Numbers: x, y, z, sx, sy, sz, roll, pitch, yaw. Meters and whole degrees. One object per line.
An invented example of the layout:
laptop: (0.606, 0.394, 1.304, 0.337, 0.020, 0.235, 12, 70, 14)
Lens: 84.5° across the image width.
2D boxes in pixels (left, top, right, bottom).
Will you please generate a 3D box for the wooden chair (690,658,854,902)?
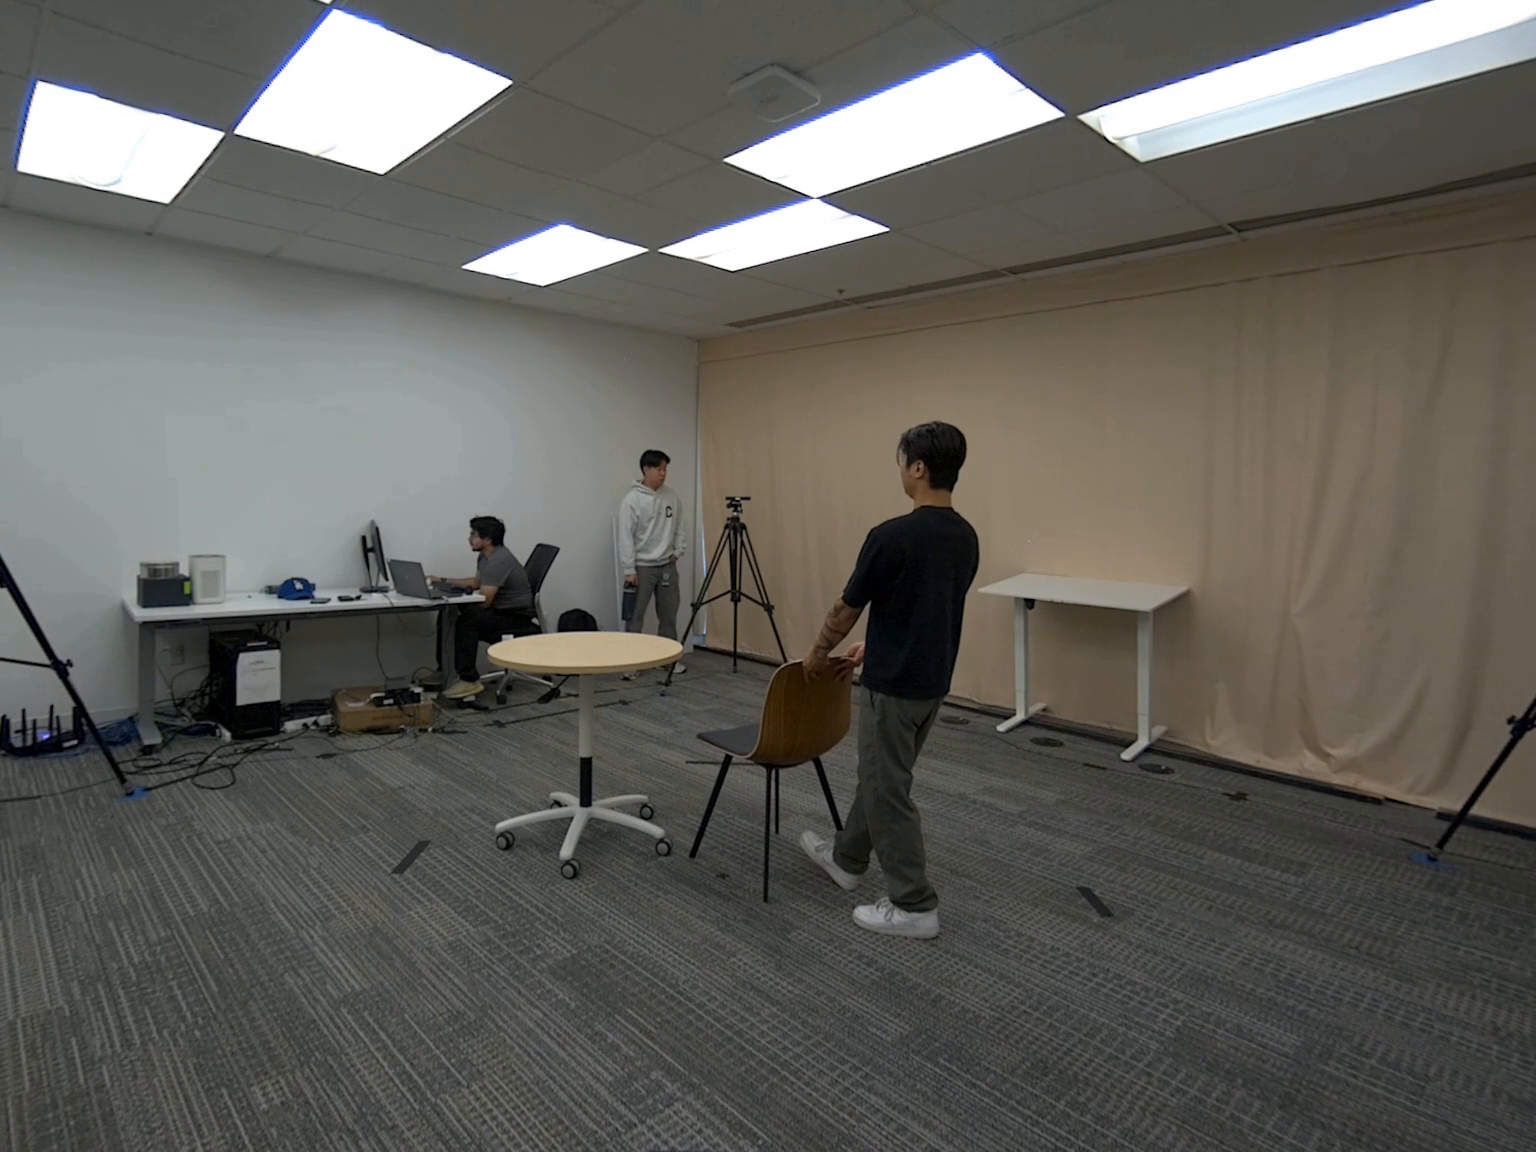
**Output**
wooden chair: (0.013, 0.673, 3.186, 0.467, 0.873, 0.537, -2, 9, -39)
